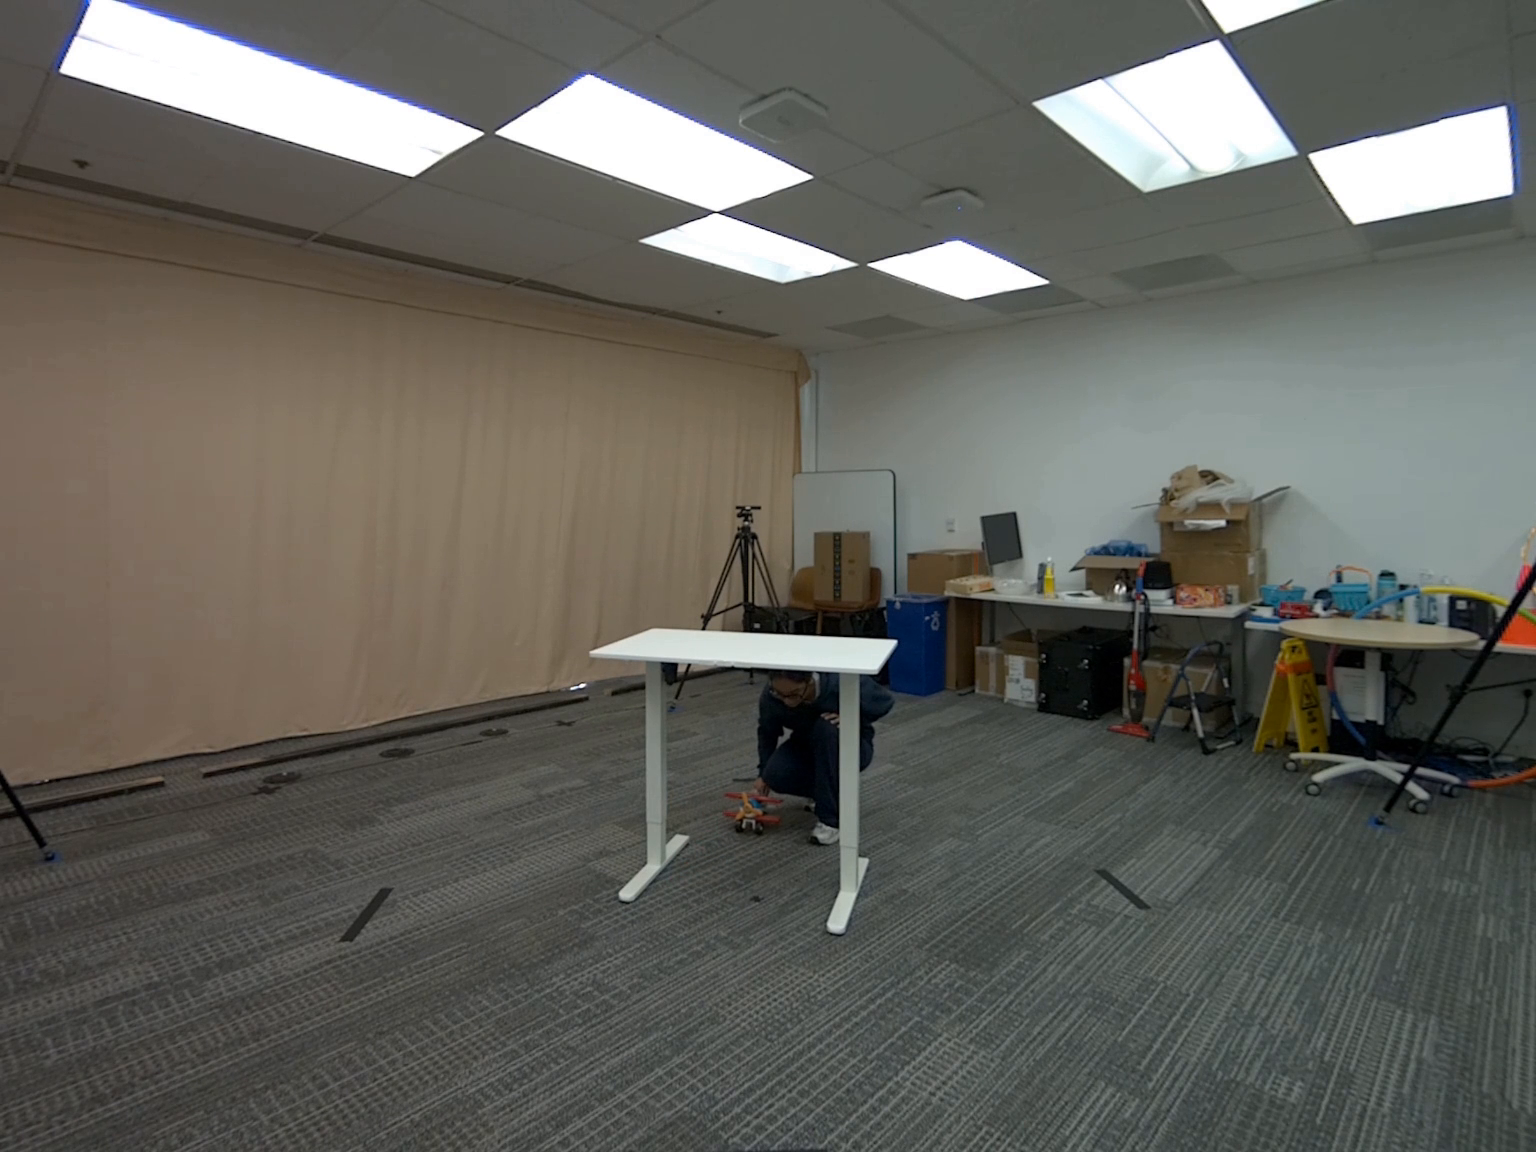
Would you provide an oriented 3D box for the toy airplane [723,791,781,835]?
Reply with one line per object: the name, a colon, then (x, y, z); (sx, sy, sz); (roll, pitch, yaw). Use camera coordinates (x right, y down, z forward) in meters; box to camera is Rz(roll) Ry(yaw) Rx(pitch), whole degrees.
toy airplane: (-0.055, 1.017, 3.666); (0.248, 0.156, 0.263); (1, 3, -12)
